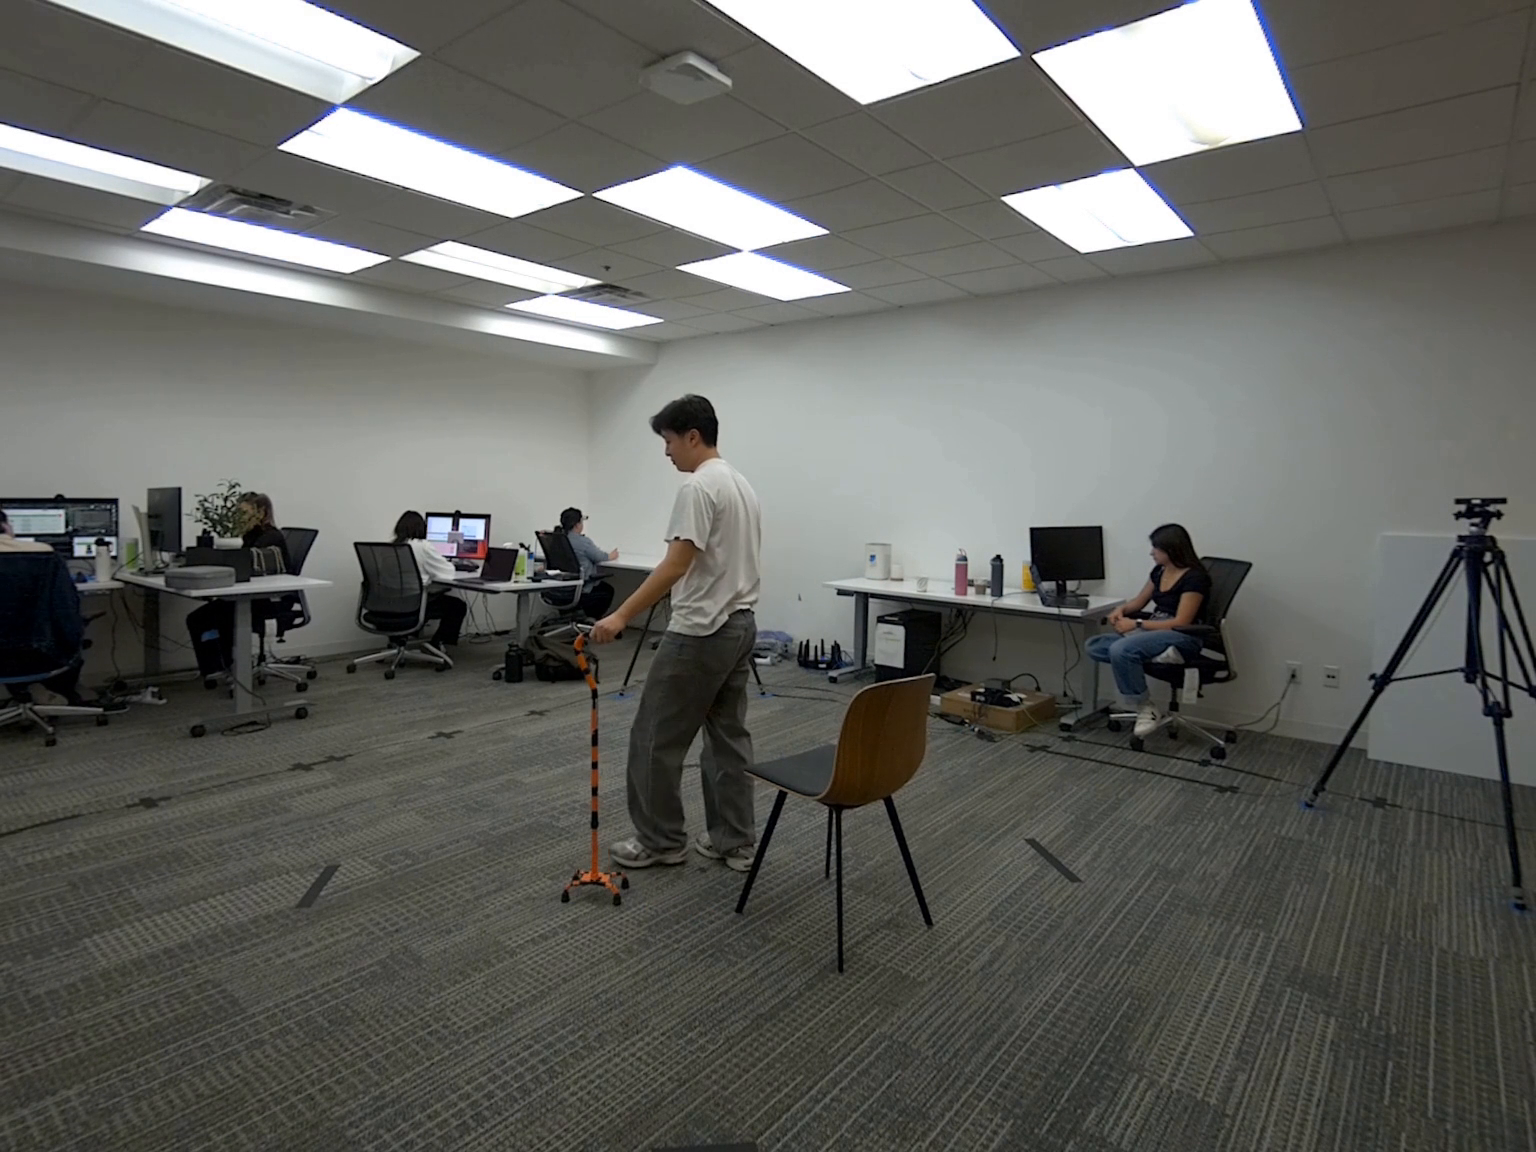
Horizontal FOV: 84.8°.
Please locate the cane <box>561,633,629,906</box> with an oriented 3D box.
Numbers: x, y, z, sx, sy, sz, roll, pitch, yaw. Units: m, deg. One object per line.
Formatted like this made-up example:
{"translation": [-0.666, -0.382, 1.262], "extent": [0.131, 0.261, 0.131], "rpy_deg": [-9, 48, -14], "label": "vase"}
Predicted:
{"translation": [-0.587, 0.624, 2.887], "extent": [0.208, 0.906, 0.151], "rpy_deg": [1, 2, 5], "label": "cane"}
